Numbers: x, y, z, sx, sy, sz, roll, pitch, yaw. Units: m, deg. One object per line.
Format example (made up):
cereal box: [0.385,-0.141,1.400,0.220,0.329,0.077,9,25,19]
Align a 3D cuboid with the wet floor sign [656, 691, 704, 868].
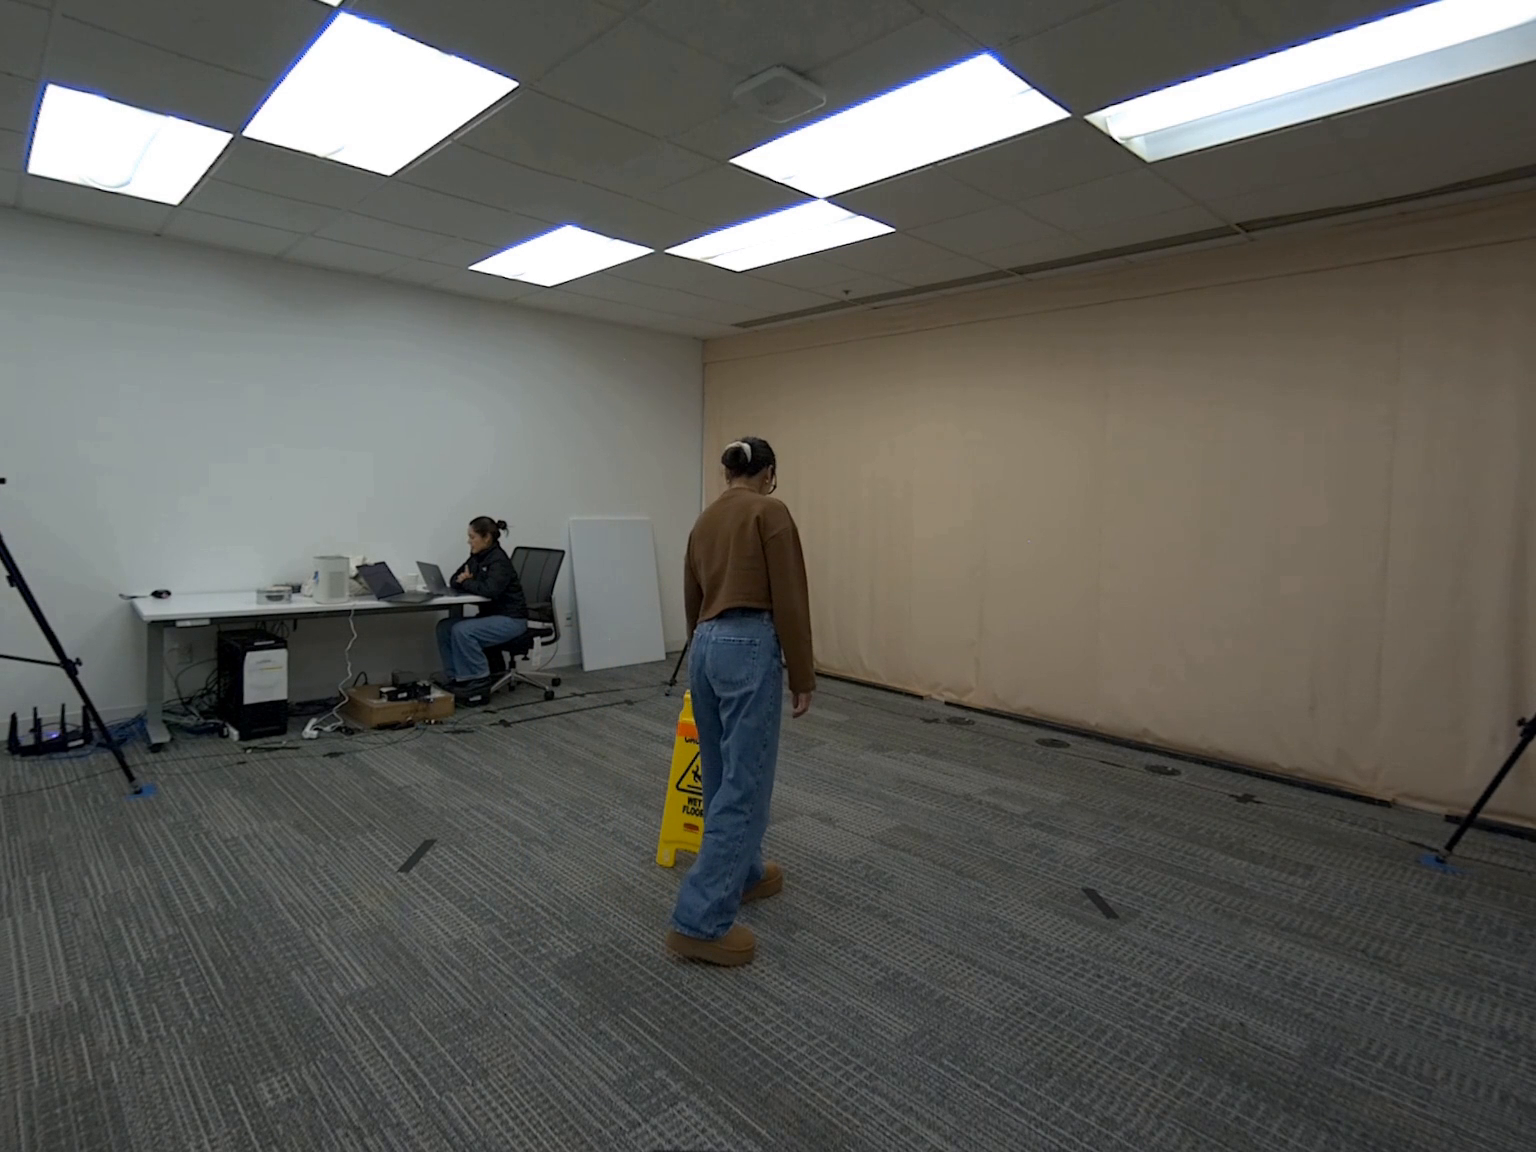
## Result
wet floor sign: [-0.246,0.771,3.226,0.288,0.644,0.285,2,4,27]
